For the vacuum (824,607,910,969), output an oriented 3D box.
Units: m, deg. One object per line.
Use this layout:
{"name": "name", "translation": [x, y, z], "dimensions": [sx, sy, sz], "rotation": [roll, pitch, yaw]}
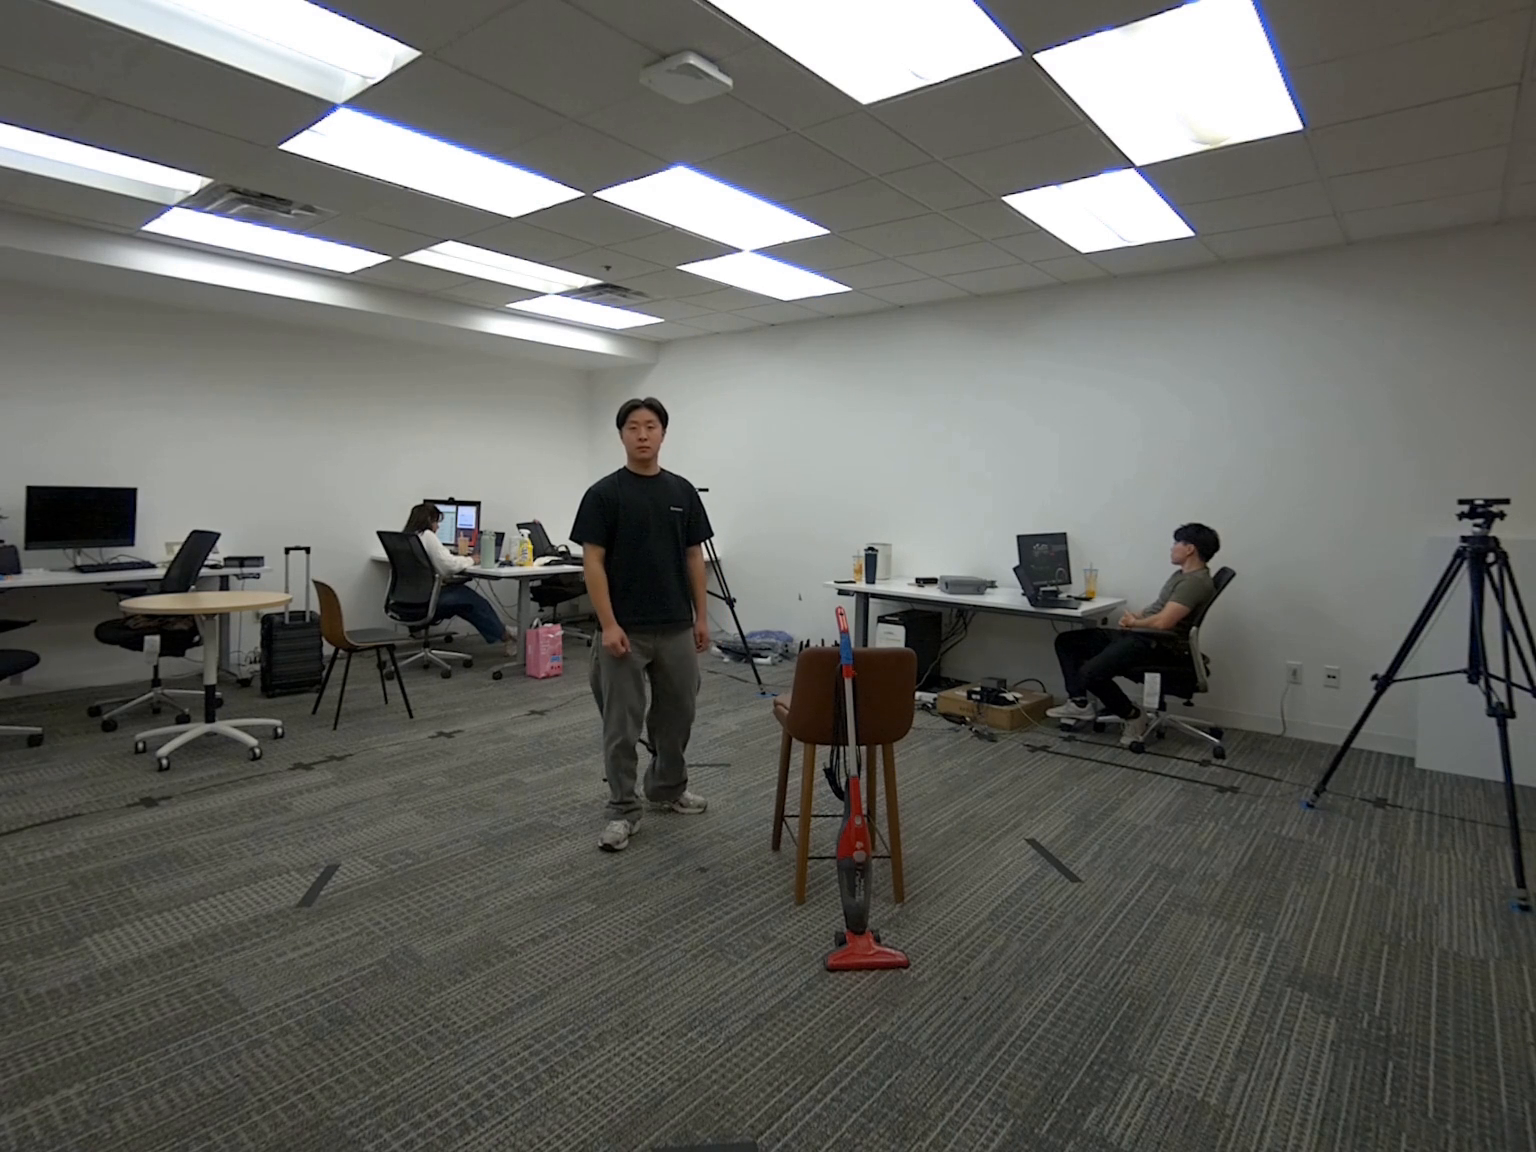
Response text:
{"name": "vacuum", "translation": [0.251, 0.618, 2.677], "dimensions": [0.248, 1.064, 0.144], "rotation": [1, -15, -18]}
